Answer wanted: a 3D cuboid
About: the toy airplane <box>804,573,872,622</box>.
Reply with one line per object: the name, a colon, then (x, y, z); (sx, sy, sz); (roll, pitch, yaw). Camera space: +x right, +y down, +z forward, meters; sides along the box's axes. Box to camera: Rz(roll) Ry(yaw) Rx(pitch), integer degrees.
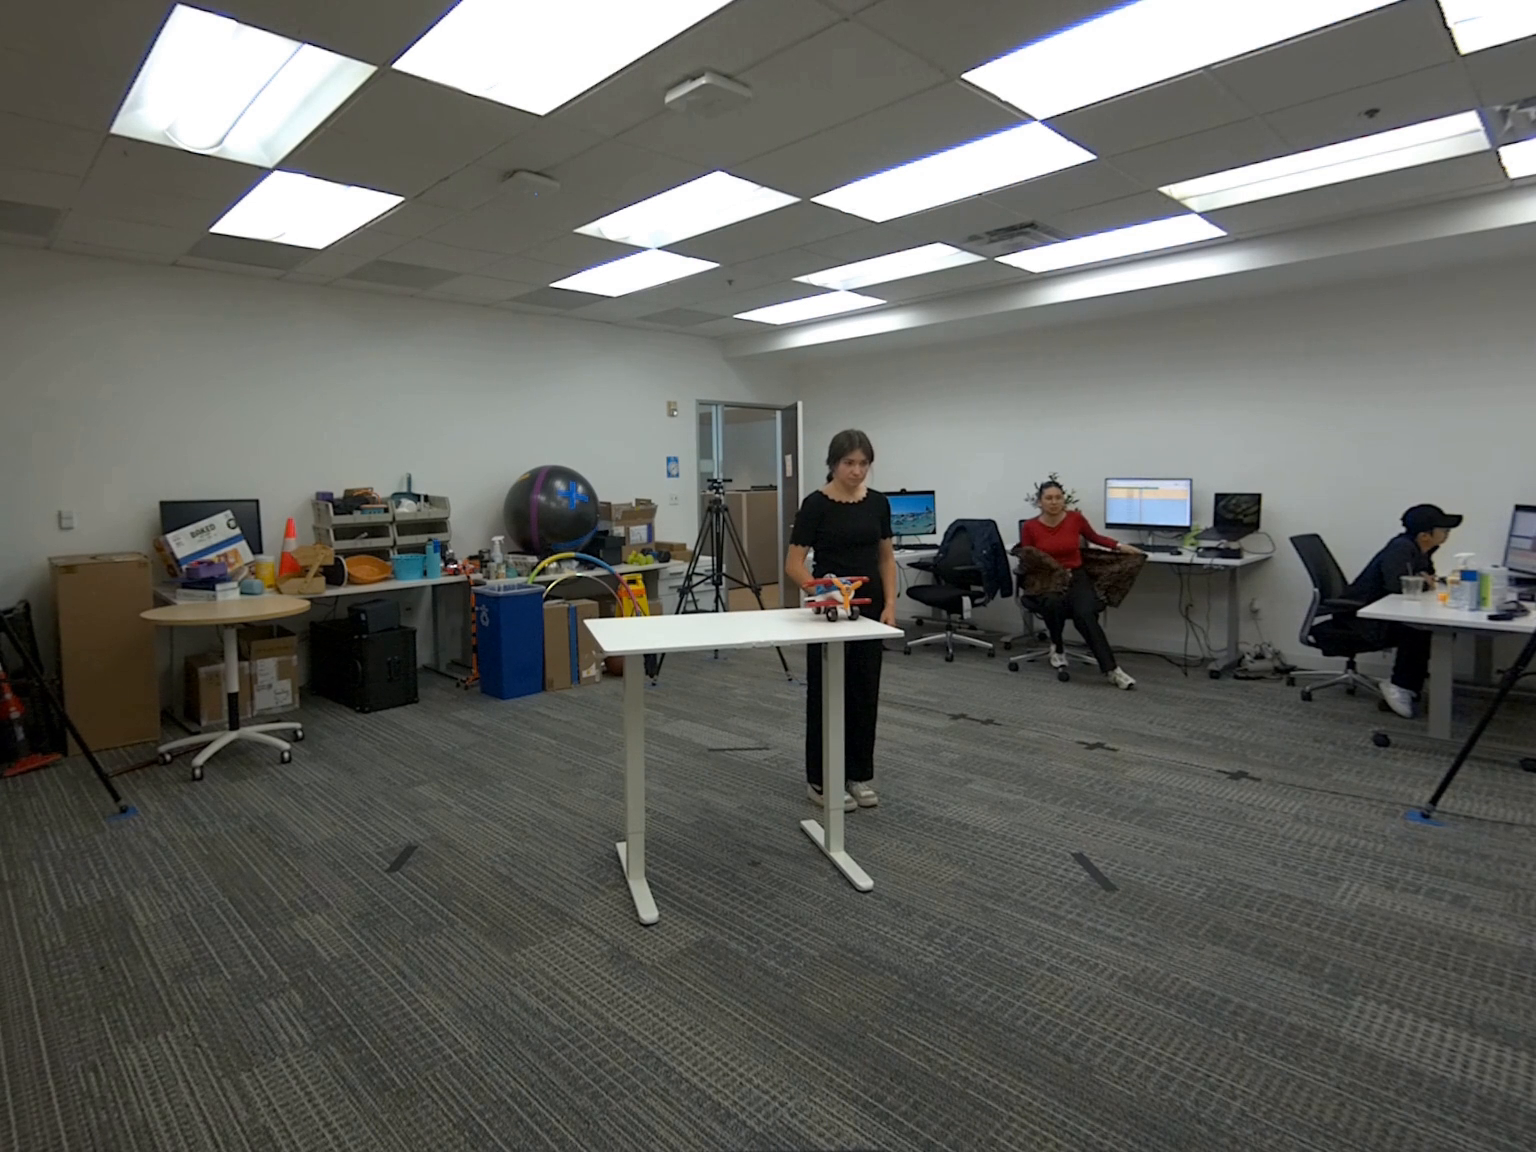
toy airplane: (0.223, 0.079, 3.153); (0.267, 0.156, 0.244); (6, 7, 43)
